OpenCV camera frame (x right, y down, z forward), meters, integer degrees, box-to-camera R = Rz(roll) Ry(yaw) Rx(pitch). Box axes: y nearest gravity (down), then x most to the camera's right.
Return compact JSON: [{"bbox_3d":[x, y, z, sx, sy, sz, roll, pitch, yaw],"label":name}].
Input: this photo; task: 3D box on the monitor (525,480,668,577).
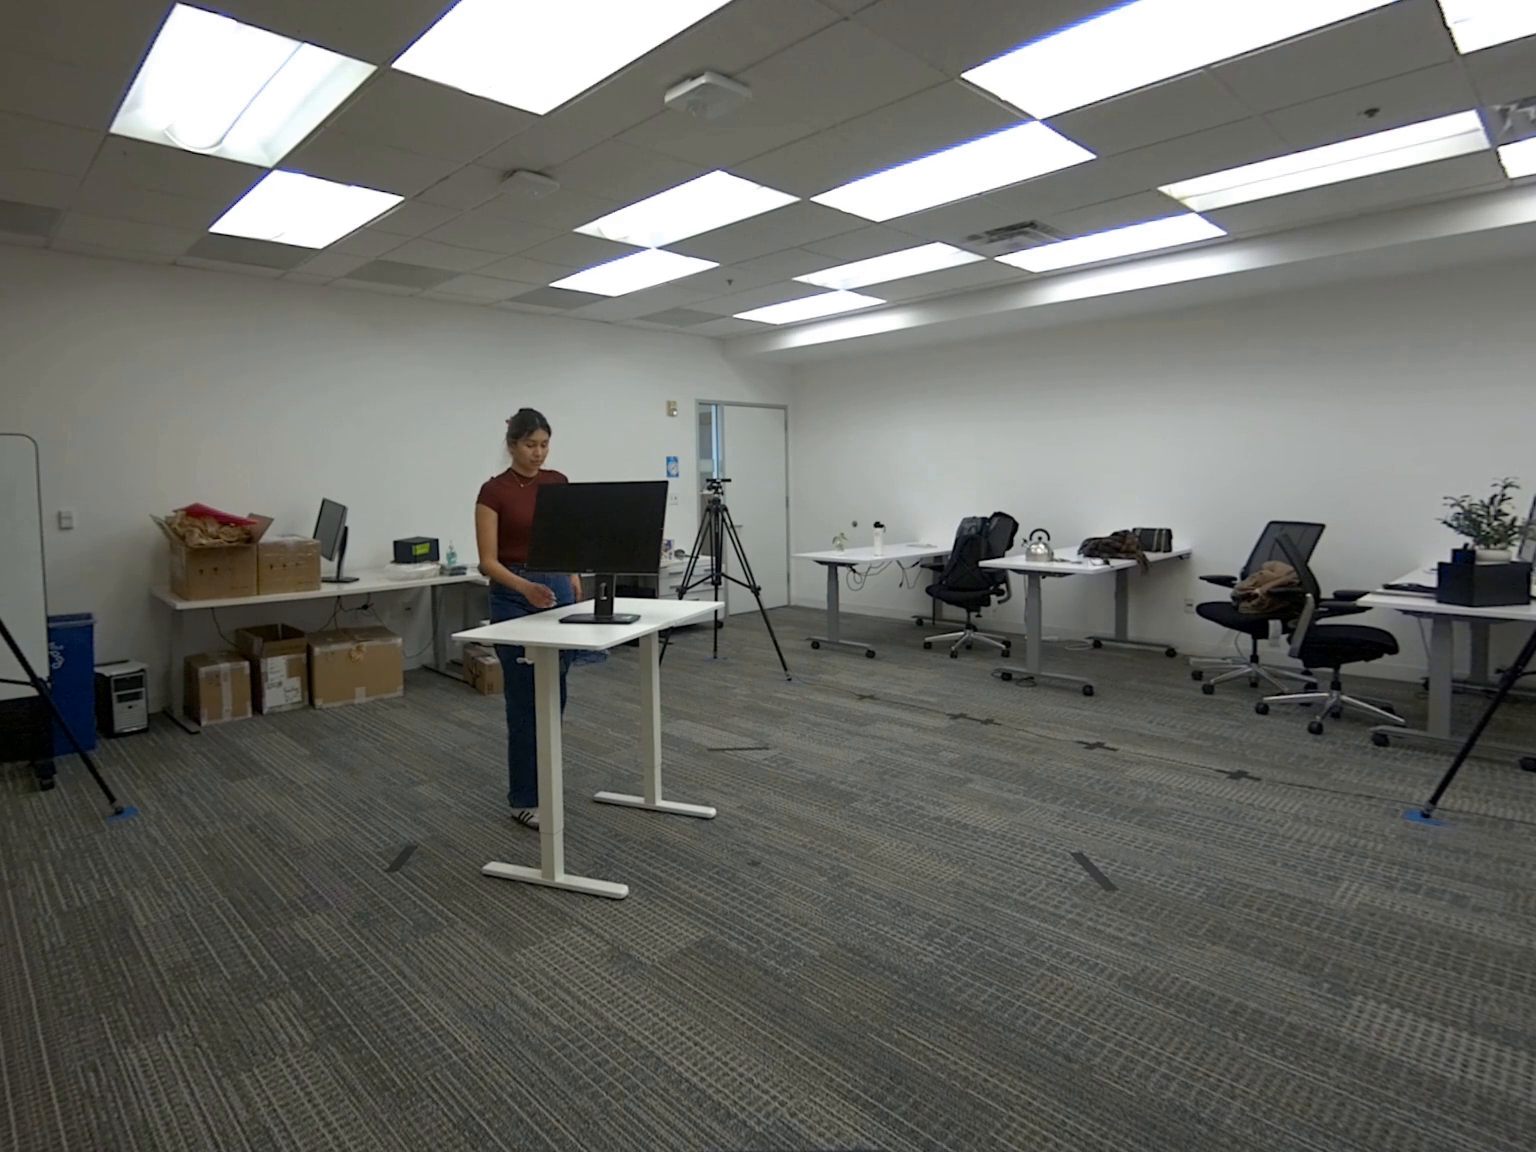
[{"bbox_3d":[-0.622,-0.088,3.179,0.547,0.522,0.184,0,0,14],"label":"monitor"}]
